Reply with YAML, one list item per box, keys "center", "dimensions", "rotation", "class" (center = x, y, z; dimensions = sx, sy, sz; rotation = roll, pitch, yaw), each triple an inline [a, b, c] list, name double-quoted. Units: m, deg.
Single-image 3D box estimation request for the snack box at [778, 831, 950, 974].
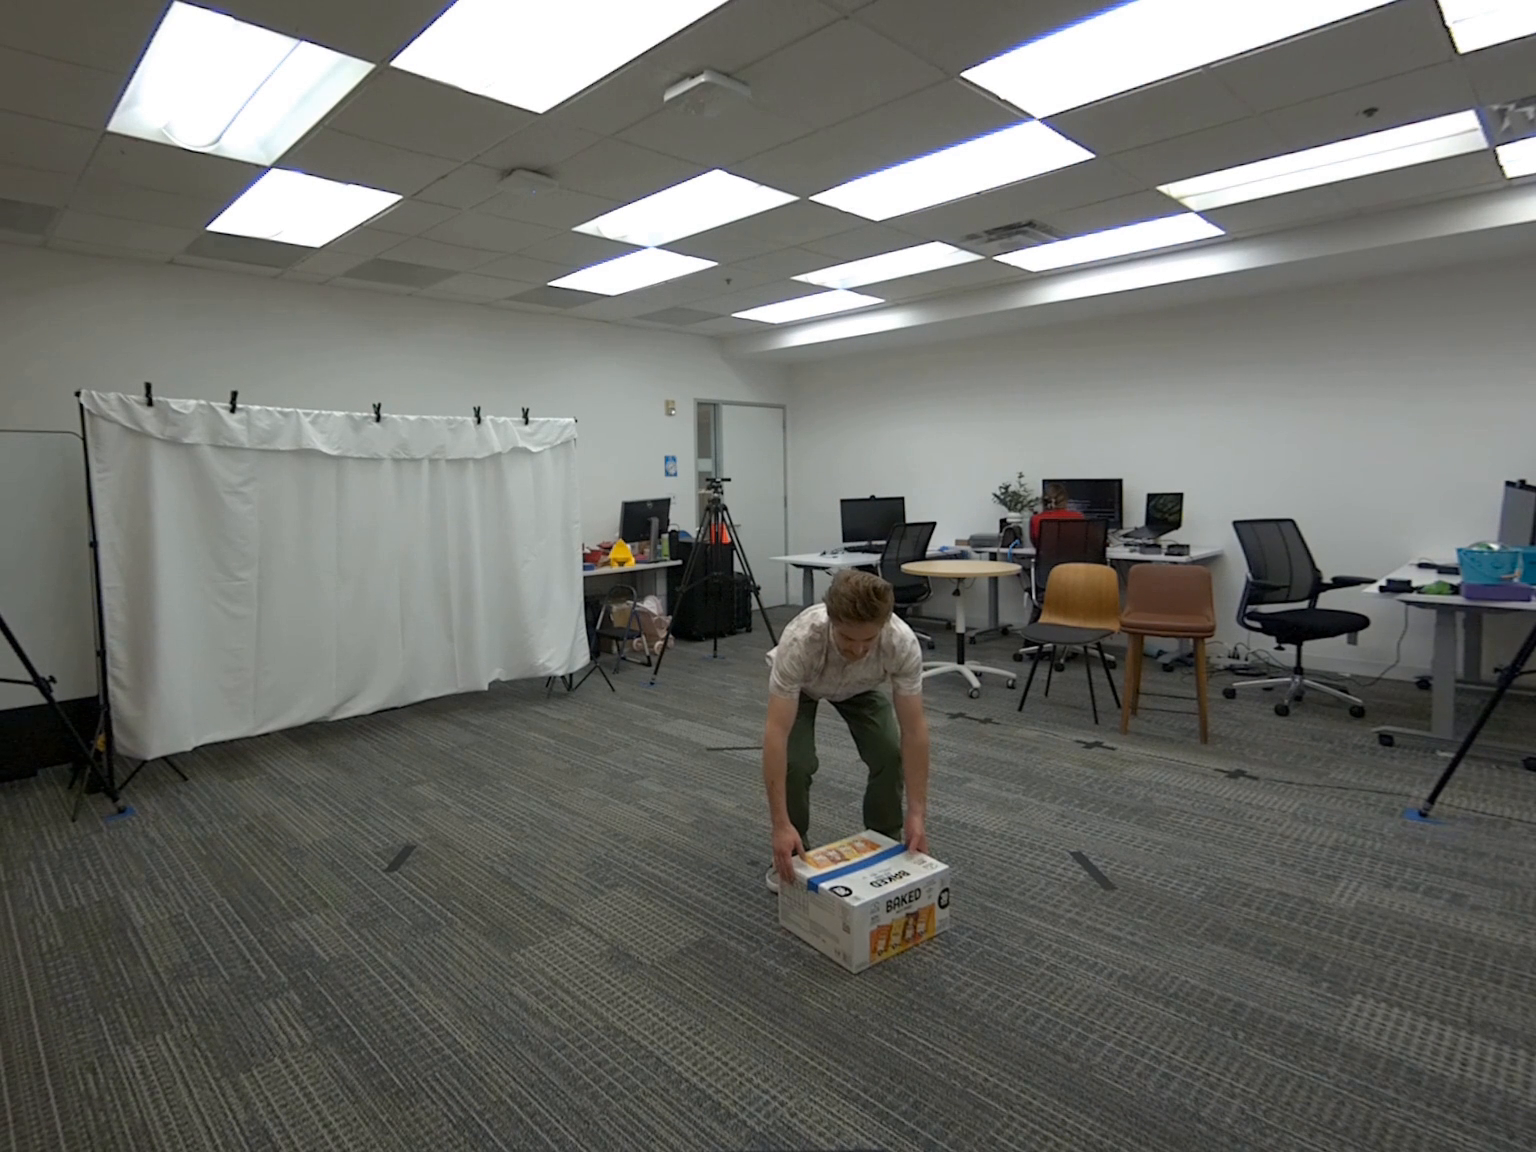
- center: [0.297, 0.988, 2.634]
  dimensions: [0.395, 0.205, 0.350]
  rotation: [-6, 7, -36]
  class: "snack box"
